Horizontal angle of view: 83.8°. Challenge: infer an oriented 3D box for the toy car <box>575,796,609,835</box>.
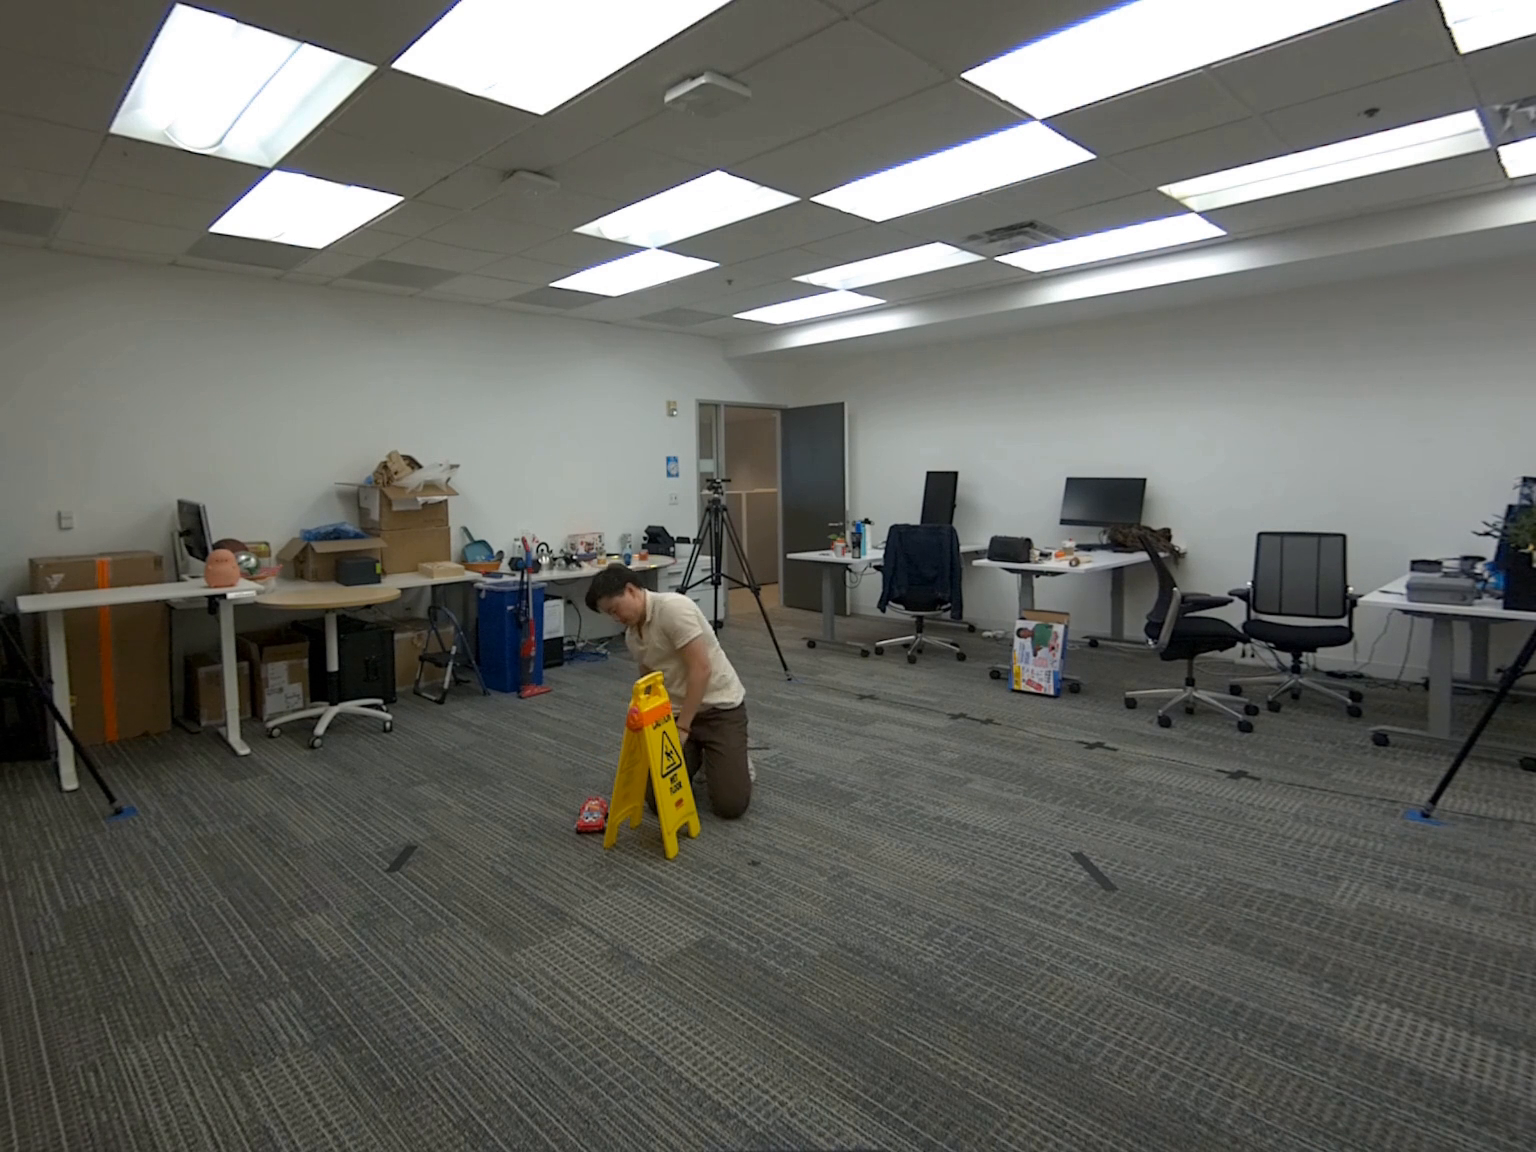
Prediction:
[{"bbox_3d":[-0.724,0.984,3.503,0.130,0.082,0.259,-2,17,-6],"label":"toy car"}]
